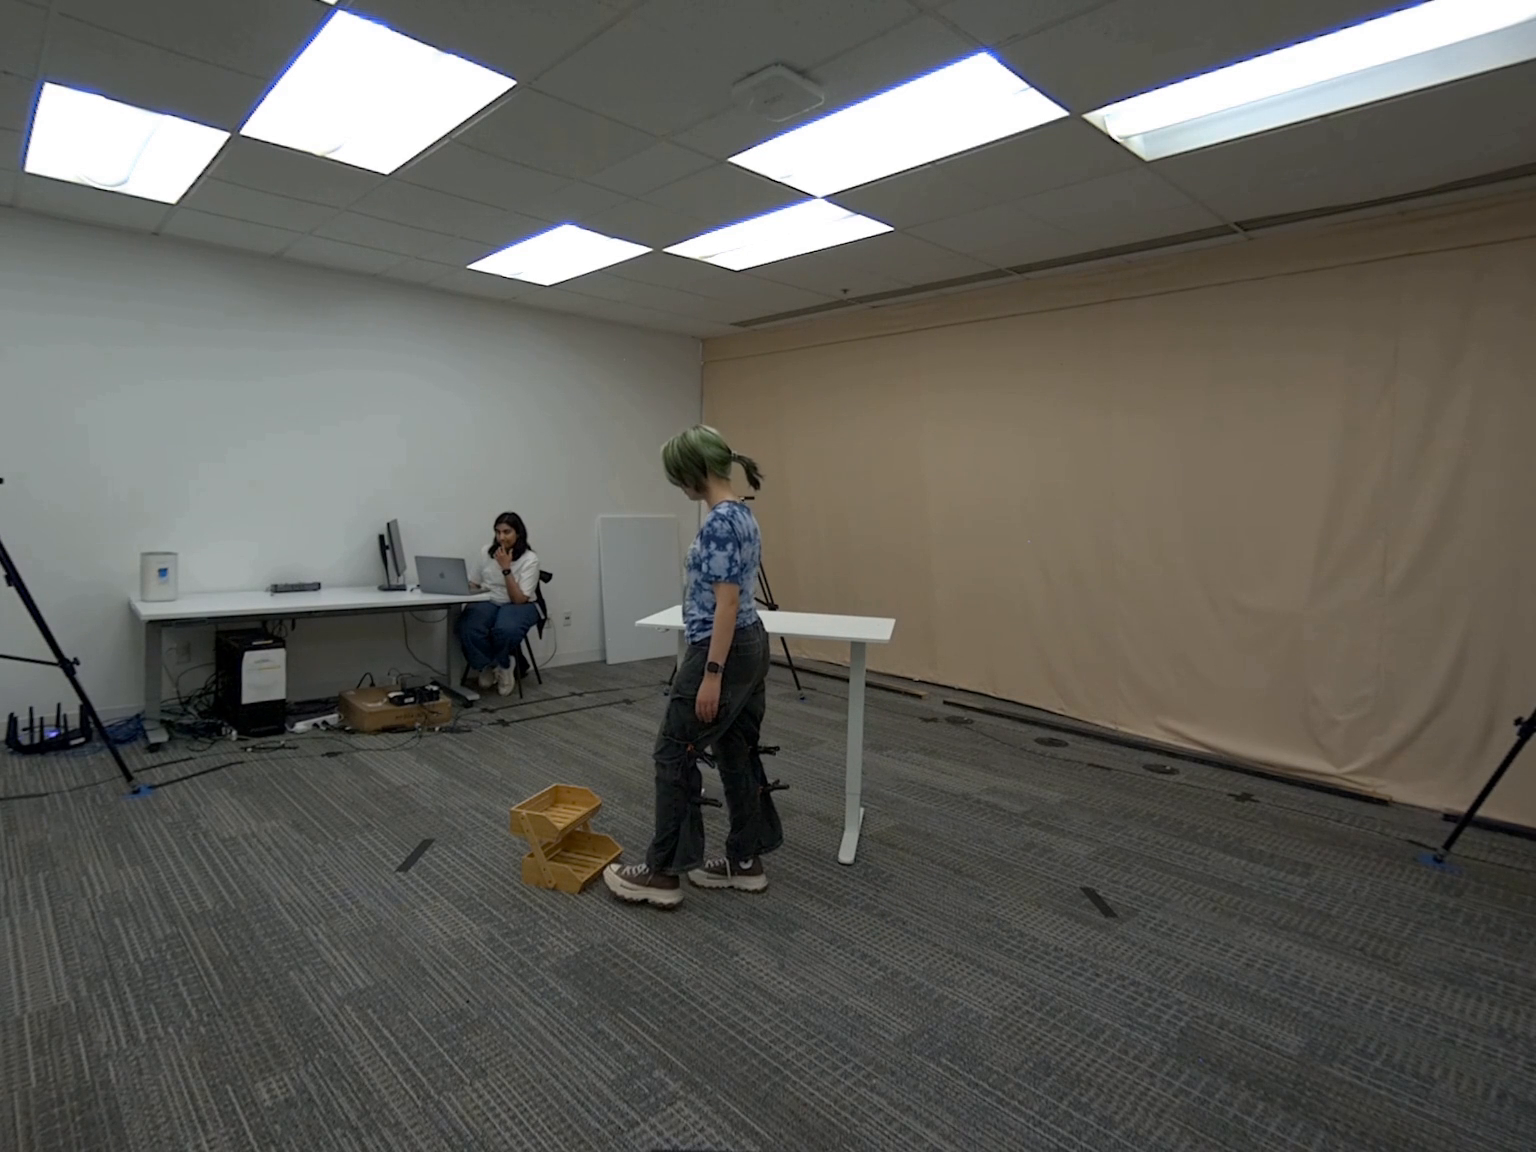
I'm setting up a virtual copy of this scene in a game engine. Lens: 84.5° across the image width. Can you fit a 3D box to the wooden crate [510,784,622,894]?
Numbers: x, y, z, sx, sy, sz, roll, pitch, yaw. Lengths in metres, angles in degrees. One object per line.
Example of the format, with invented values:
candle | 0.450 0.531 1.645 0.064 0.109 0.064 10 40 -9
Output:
wooden crate | -0.745 0.959 3.112 0.307 0.272 0.320 3 5 19
